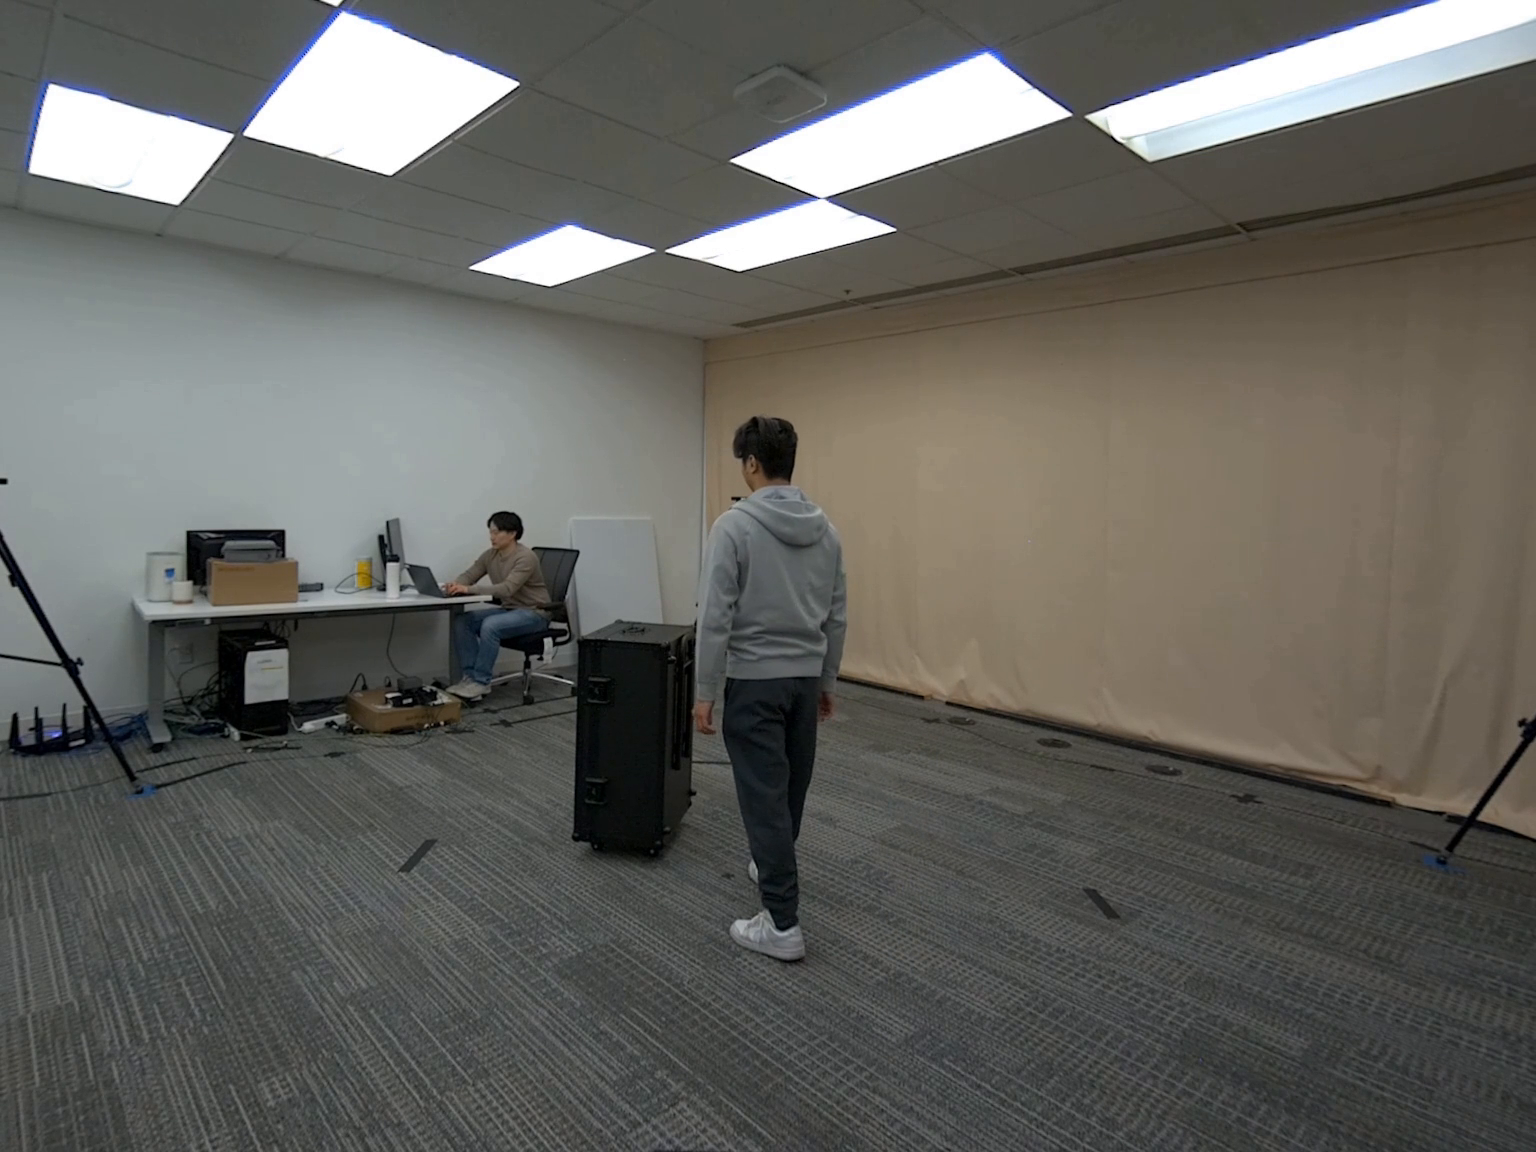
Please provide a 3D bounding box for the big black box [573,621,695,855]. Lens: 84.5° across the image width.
[{"bbox_3d":[-0.521,0.645,3.403,0.400,0.859,0.518,4,4,9],"label":"big black box"}]
